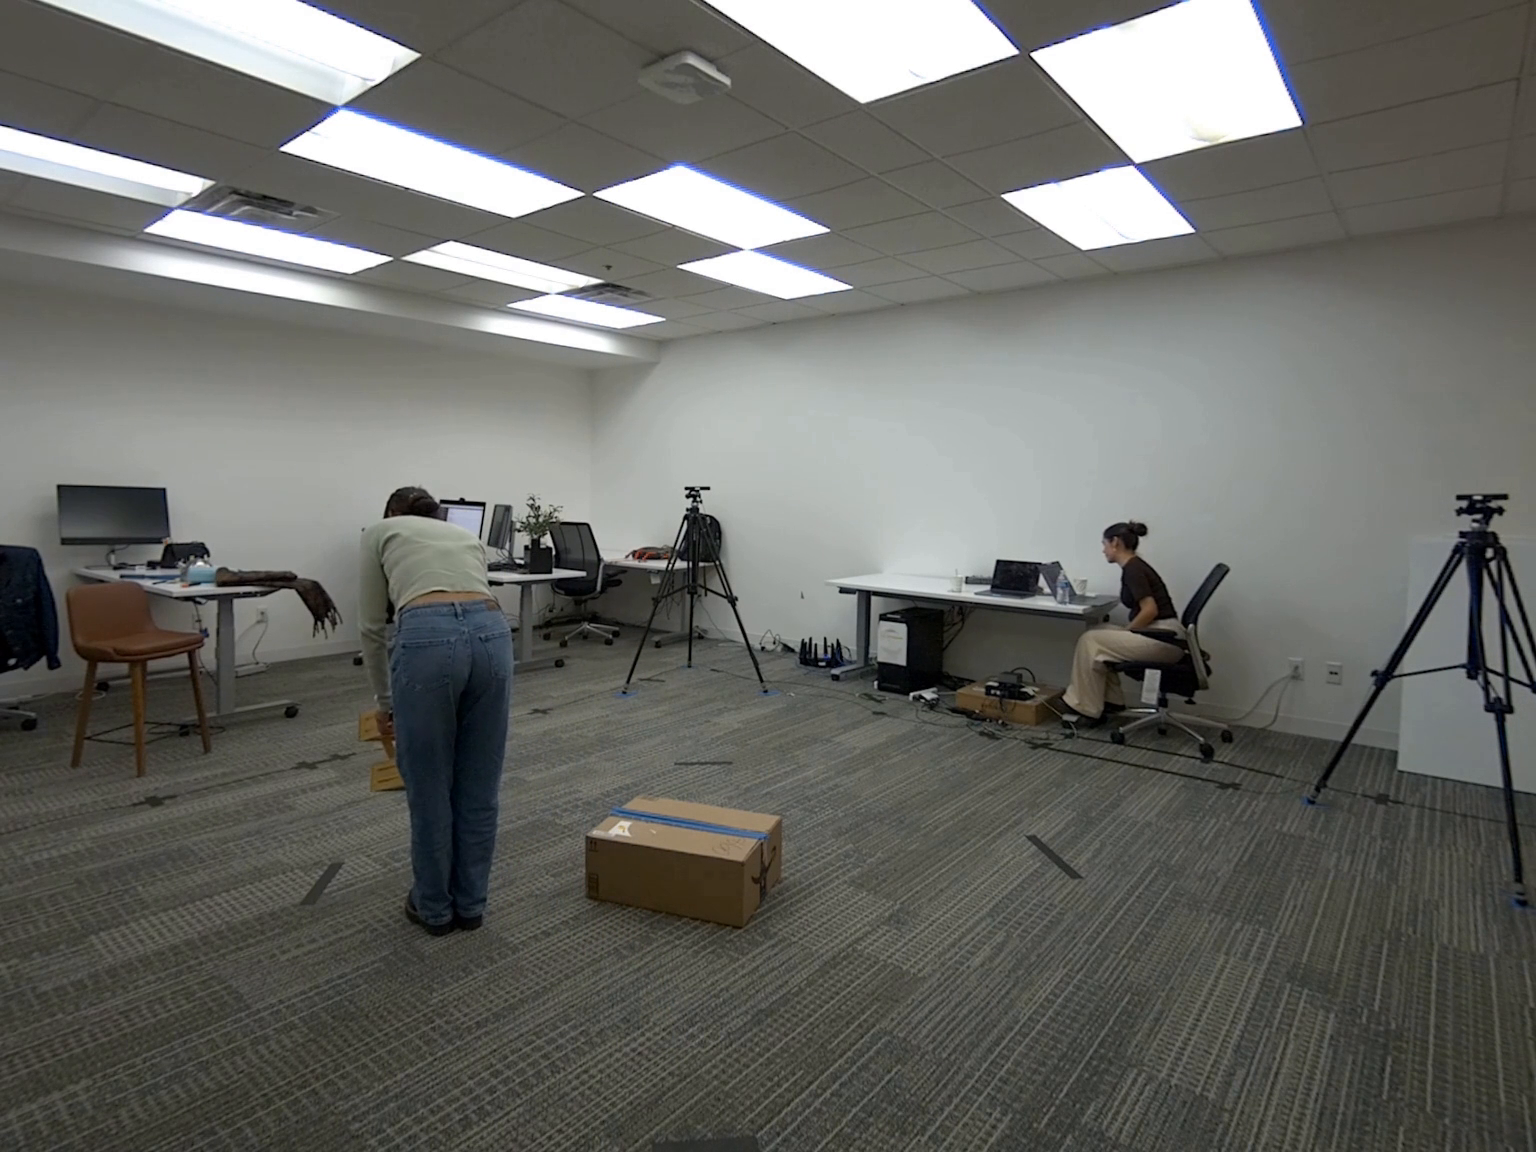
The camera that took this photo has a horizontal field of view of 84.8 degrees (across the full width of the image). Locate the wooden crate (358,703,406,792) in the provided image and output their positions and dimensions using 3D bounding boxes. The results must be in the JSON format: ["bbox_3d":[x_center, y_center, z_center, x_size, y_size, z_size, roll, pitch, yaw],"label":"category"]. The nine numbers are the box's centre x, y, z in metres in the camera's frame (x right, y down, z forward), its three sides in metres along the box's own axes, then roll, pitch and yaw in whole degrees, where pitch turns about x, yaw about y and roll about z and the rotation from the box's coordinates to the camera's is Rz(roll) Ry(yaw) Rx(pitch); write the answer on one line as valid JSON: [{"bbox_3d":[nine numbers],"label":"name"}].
[{"bbox_3d":[-1.184,0.573,2.888,0.330,0.278,0.291,-21,-23,40],"label":"wooden crate"}]
